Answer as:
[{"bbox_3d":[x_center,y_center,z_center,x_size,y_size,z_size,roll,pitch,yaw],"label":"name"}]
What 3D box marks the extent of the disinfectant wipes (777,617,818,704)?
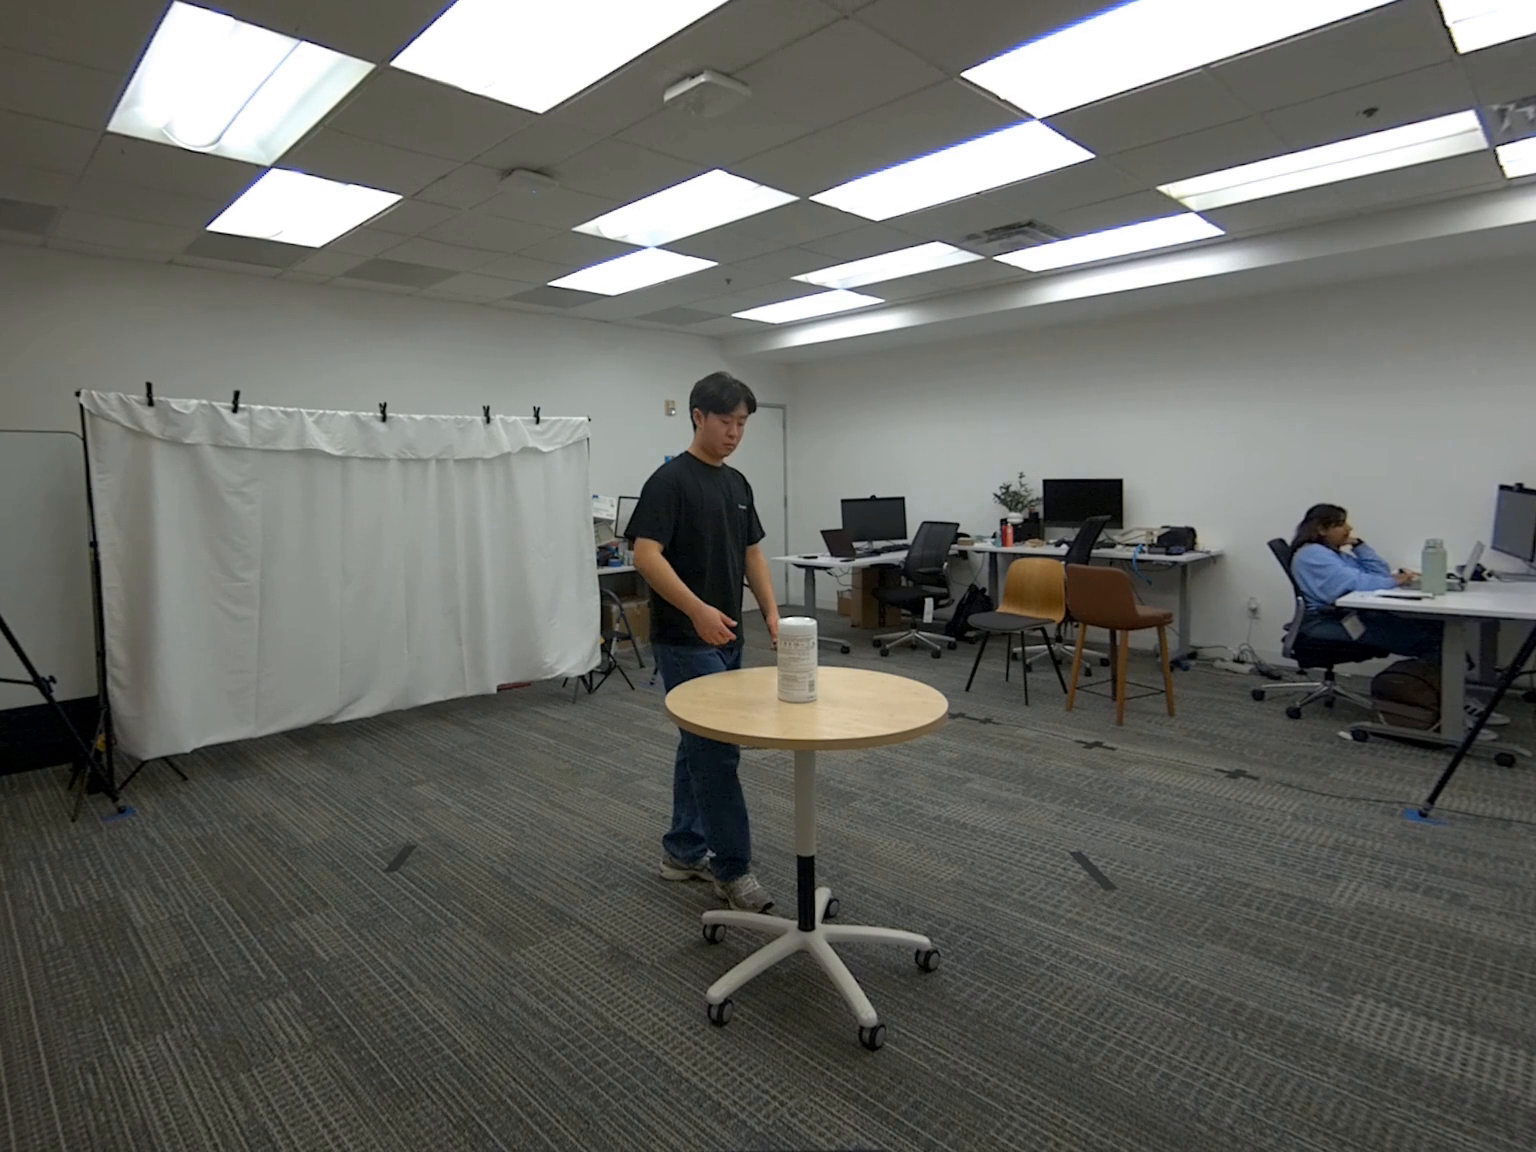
[{"bbox_3d":[0.085,0.228,2.326,0.118,0.217,0.118,-1,4,-2],"label":"disinfectant wipes"}]
